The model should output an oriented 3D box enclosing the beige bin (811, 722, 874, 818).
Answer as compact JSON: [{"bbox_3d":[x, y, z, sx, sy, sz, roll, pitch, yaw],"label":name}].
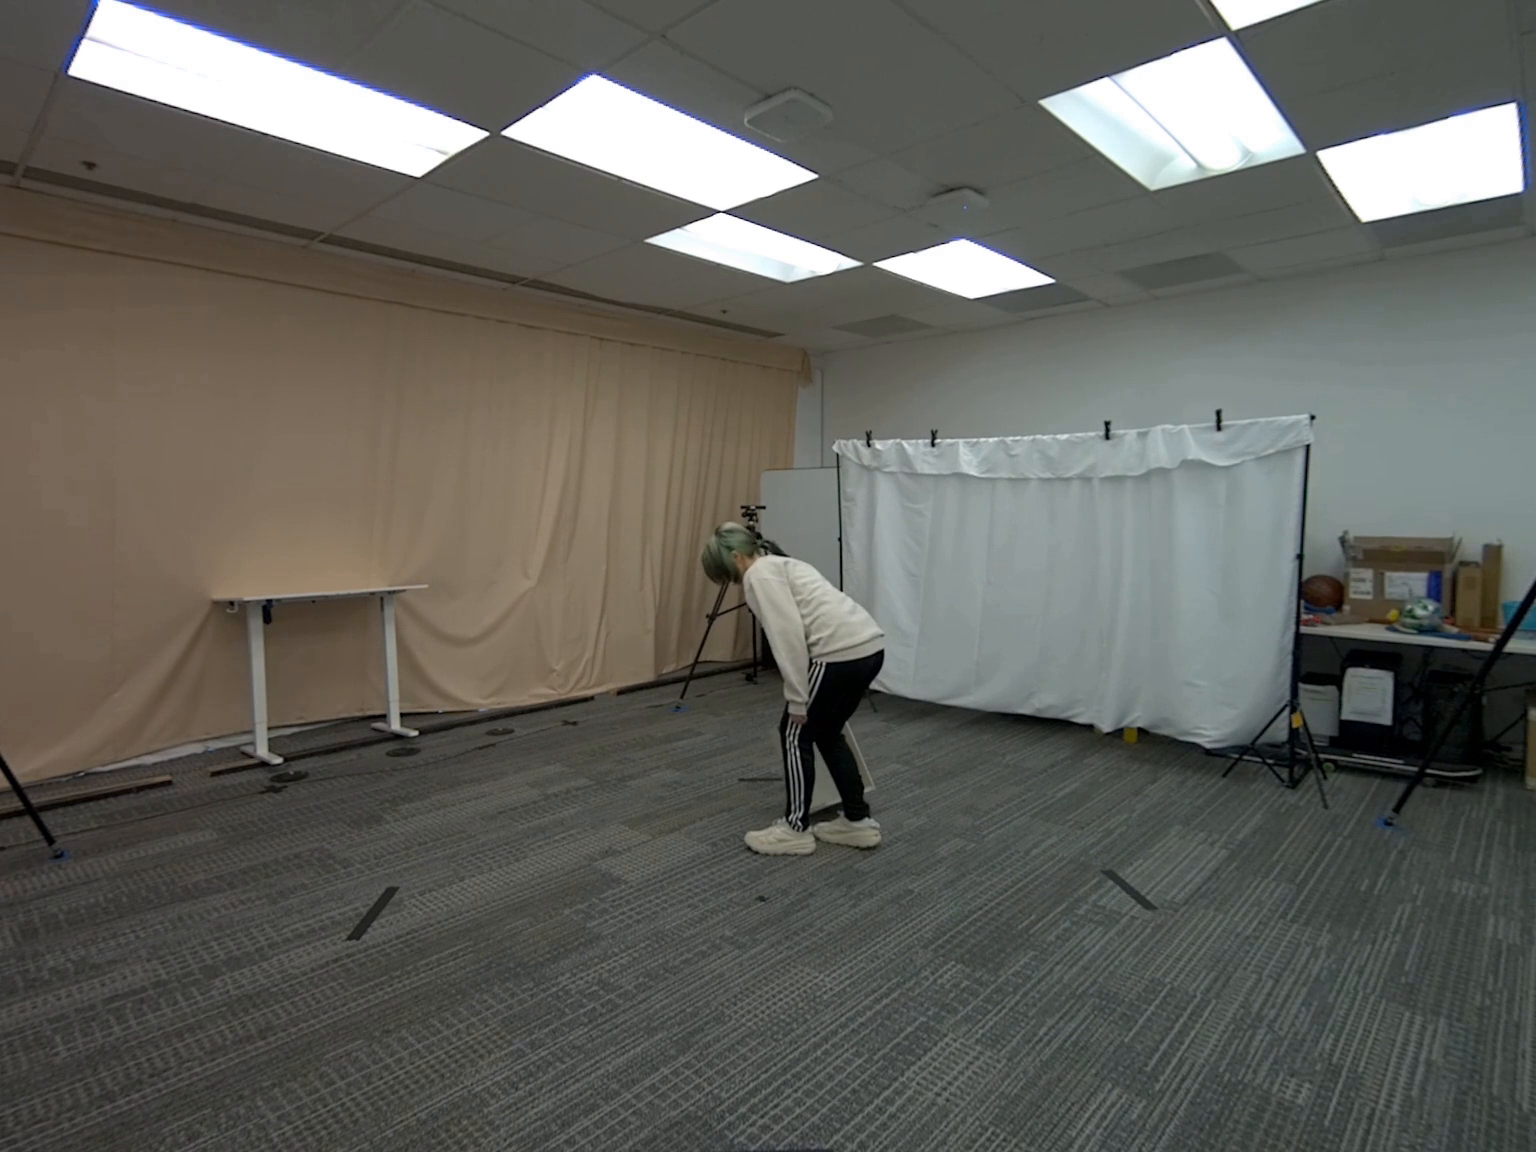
[{"bbox_3d":[0.229,0.842,3.865,0.365,0.430,0.191,-3,-28,-45],"label":"beige bin"}]
